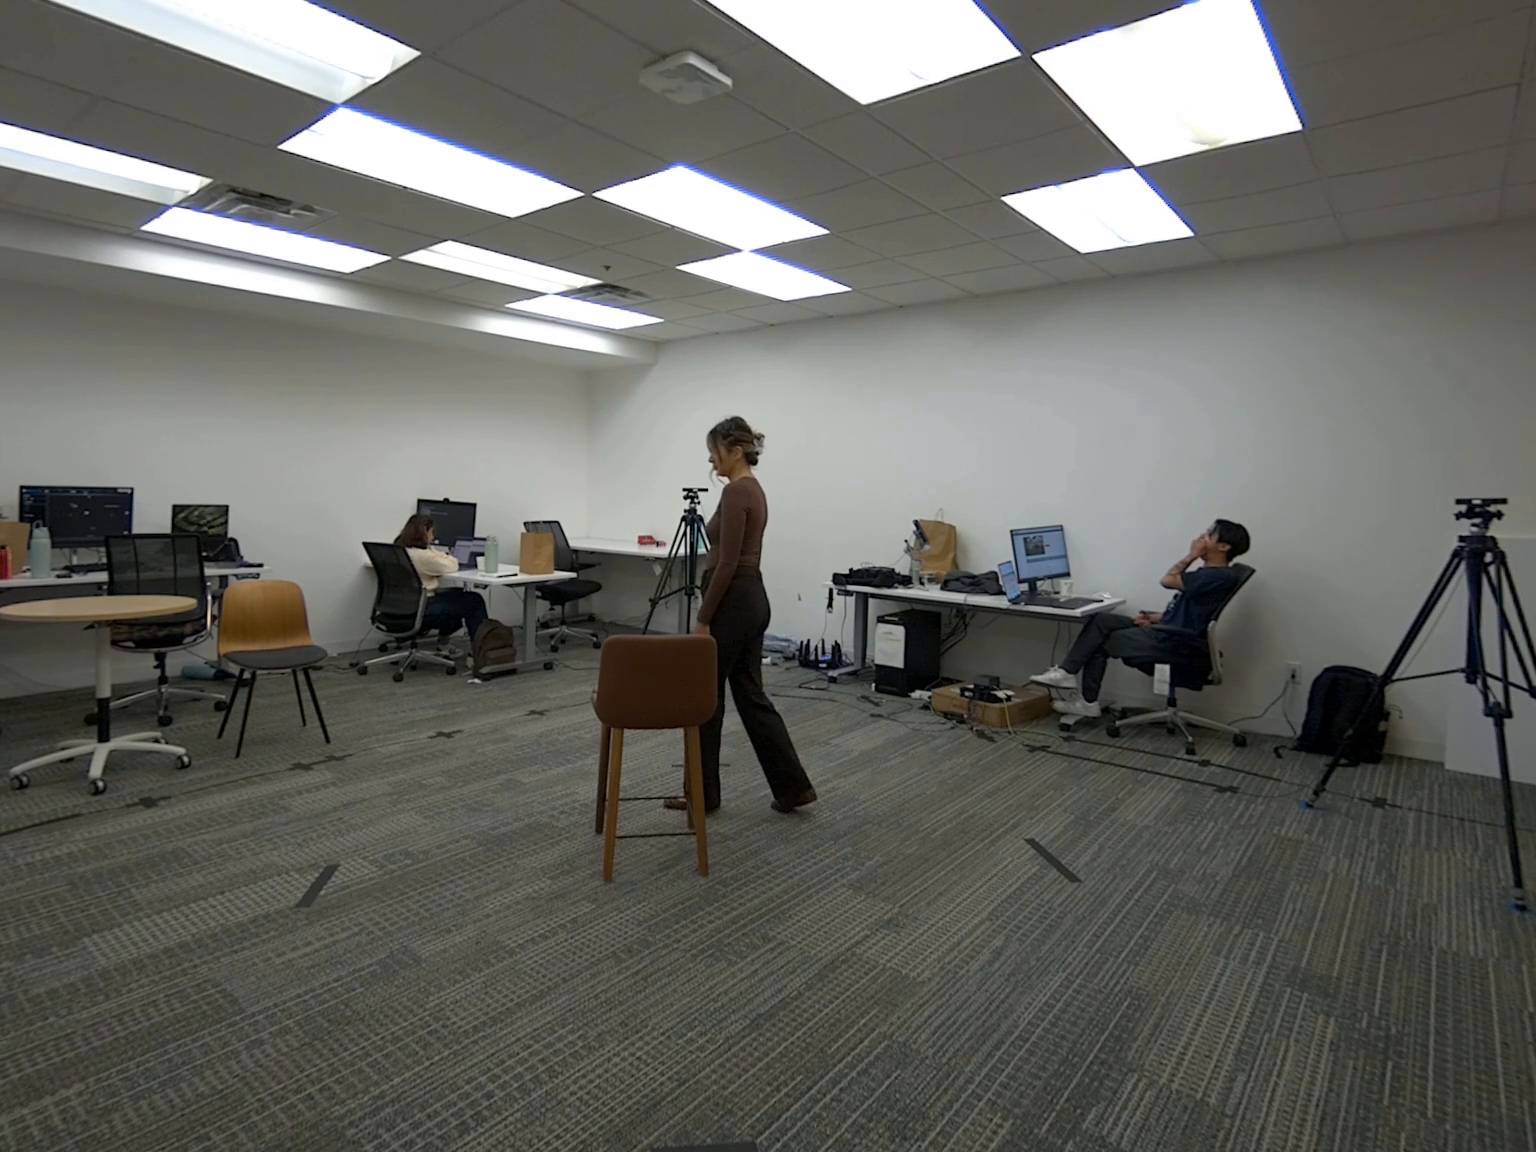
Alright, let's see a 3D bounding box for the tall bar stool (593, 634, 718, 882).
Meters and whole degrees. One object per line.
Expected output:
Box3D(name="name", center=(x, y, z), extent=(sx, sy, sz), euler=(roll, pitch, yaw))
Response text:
Box3D(name="tall bar stool", center=(-0.451, 0.619, 3.220), extent=(0.451, 0.886, 0.476), euler=(0, 5, -13))
